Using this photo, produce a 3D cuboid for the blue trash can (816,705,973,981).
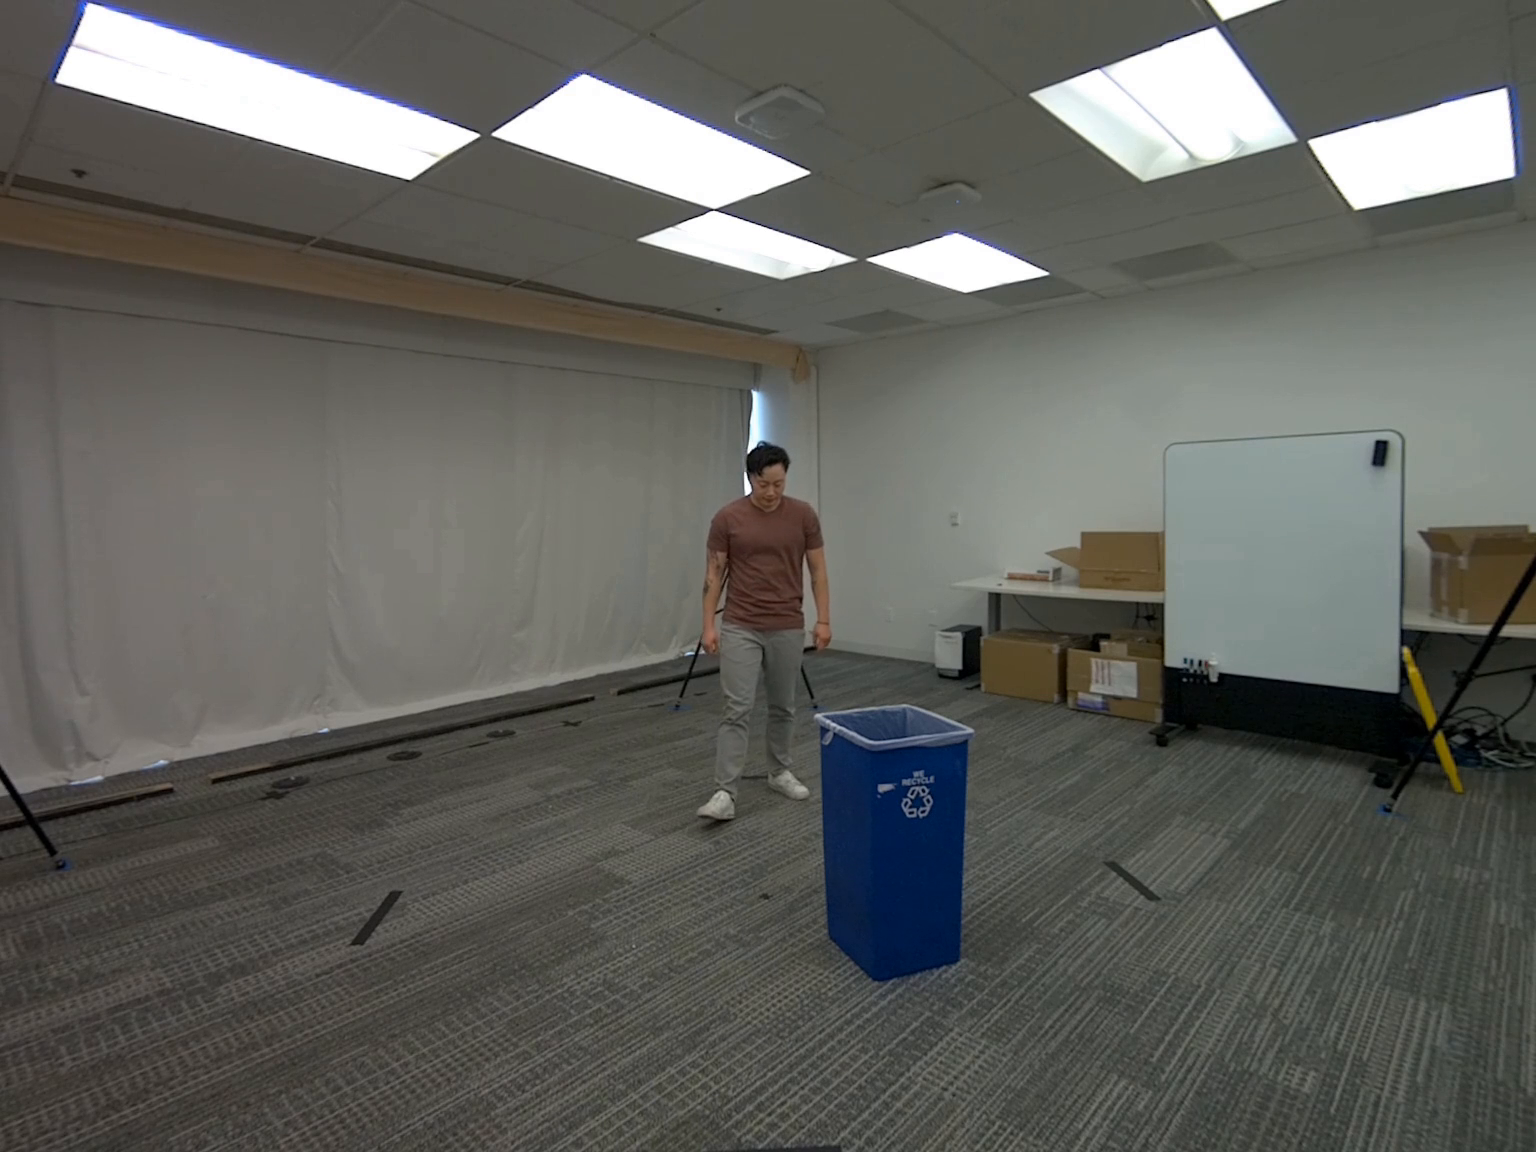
[{"bbox_3d":[0.395,0.802,2.610,0.366,0.712,0.387,-3,4,-23],"label":"blue trash can"}]
